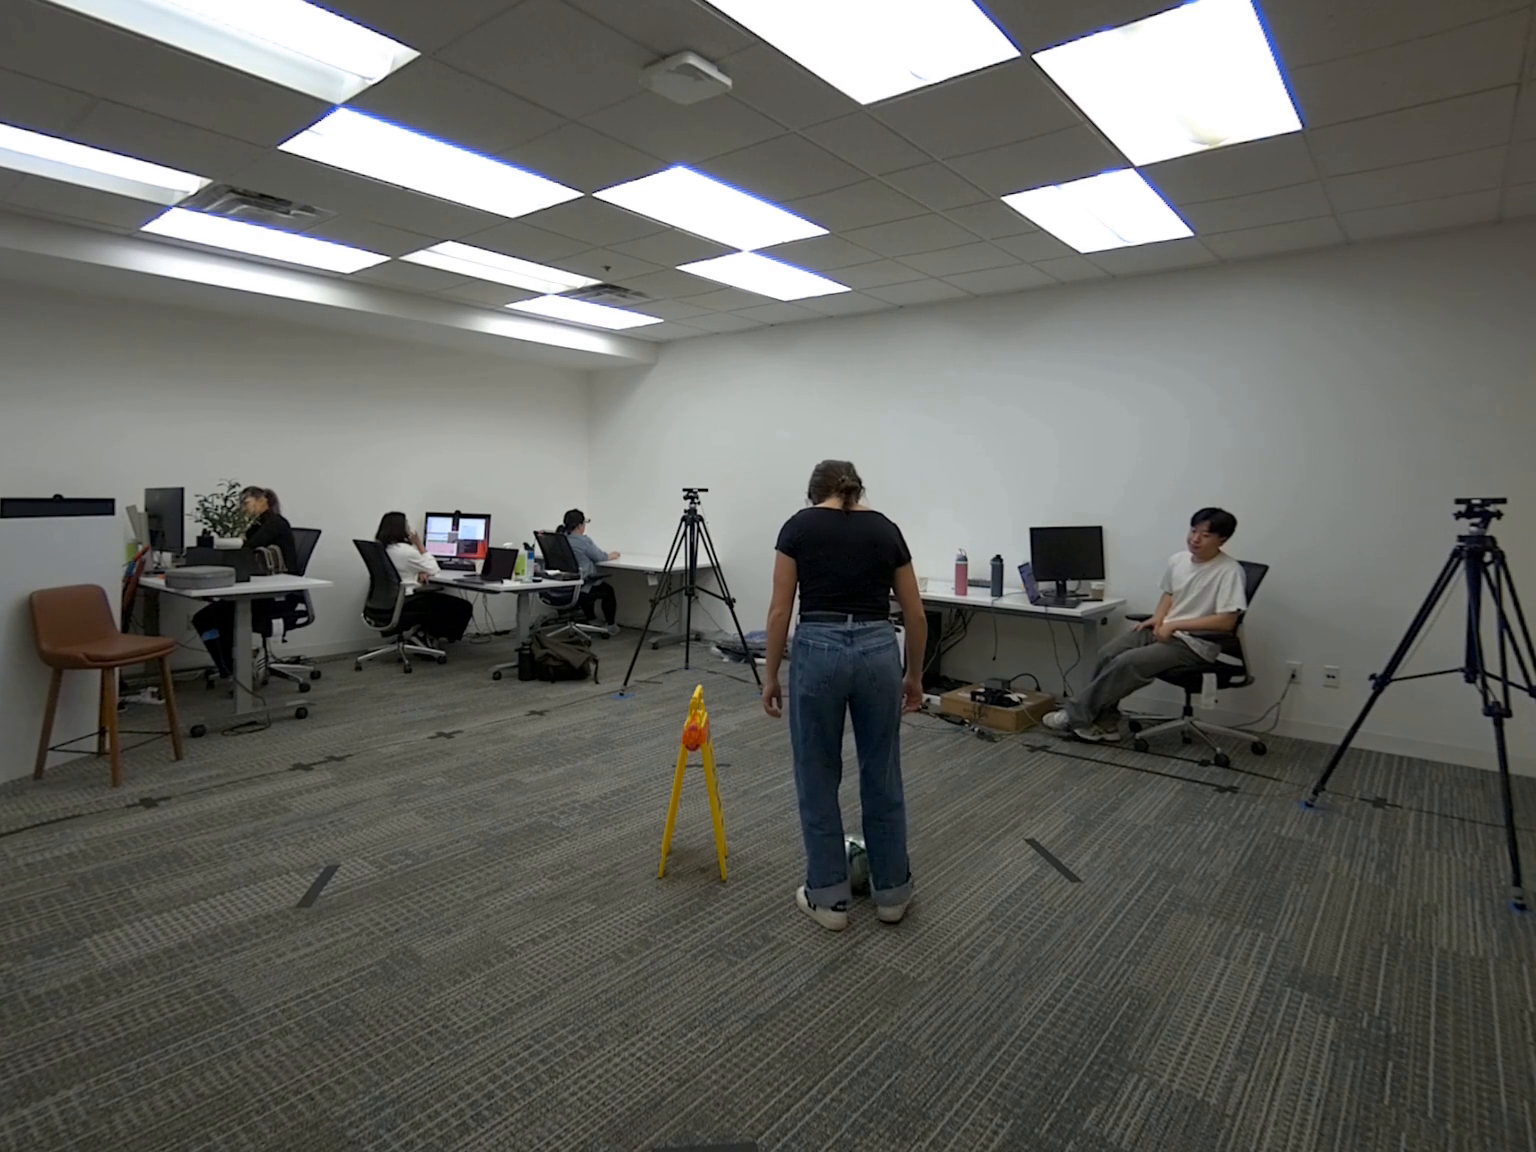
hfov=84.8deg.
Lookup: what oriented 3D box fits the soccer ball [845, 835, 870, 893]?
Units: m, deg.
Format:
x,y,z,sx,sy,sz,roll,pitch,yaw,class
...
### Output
x,y,z,sx,sy,sz,roll,pitch,yaw,class
0.299,0.991,2.988,0.187,0.187,0.188,1,4,-2,soccer ball
